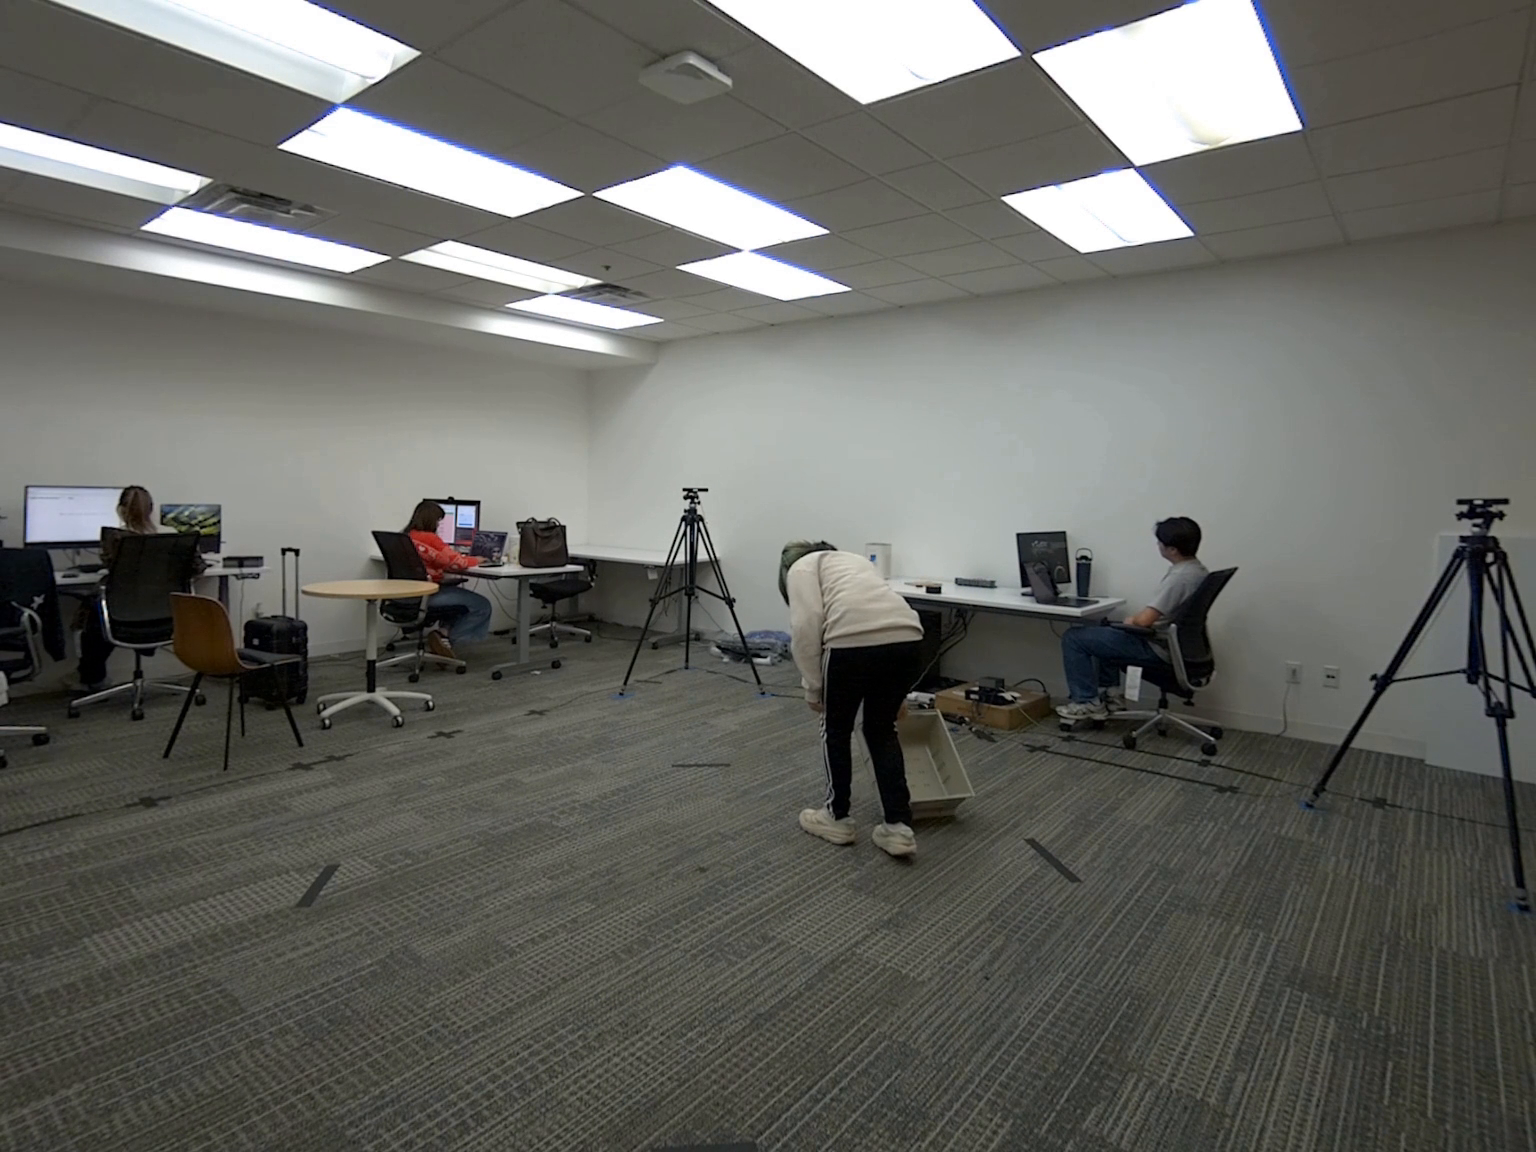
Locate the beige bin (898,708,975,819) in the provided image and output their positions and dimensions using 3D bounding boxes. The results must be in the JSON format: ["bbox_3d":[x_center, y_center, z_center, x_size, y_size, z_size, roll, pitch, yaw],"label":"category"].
[{"bbox_3d":[0.627,0.824,3.726,0.370,0.186,0.438,0,47,-18],"label":"beige bin"}]
